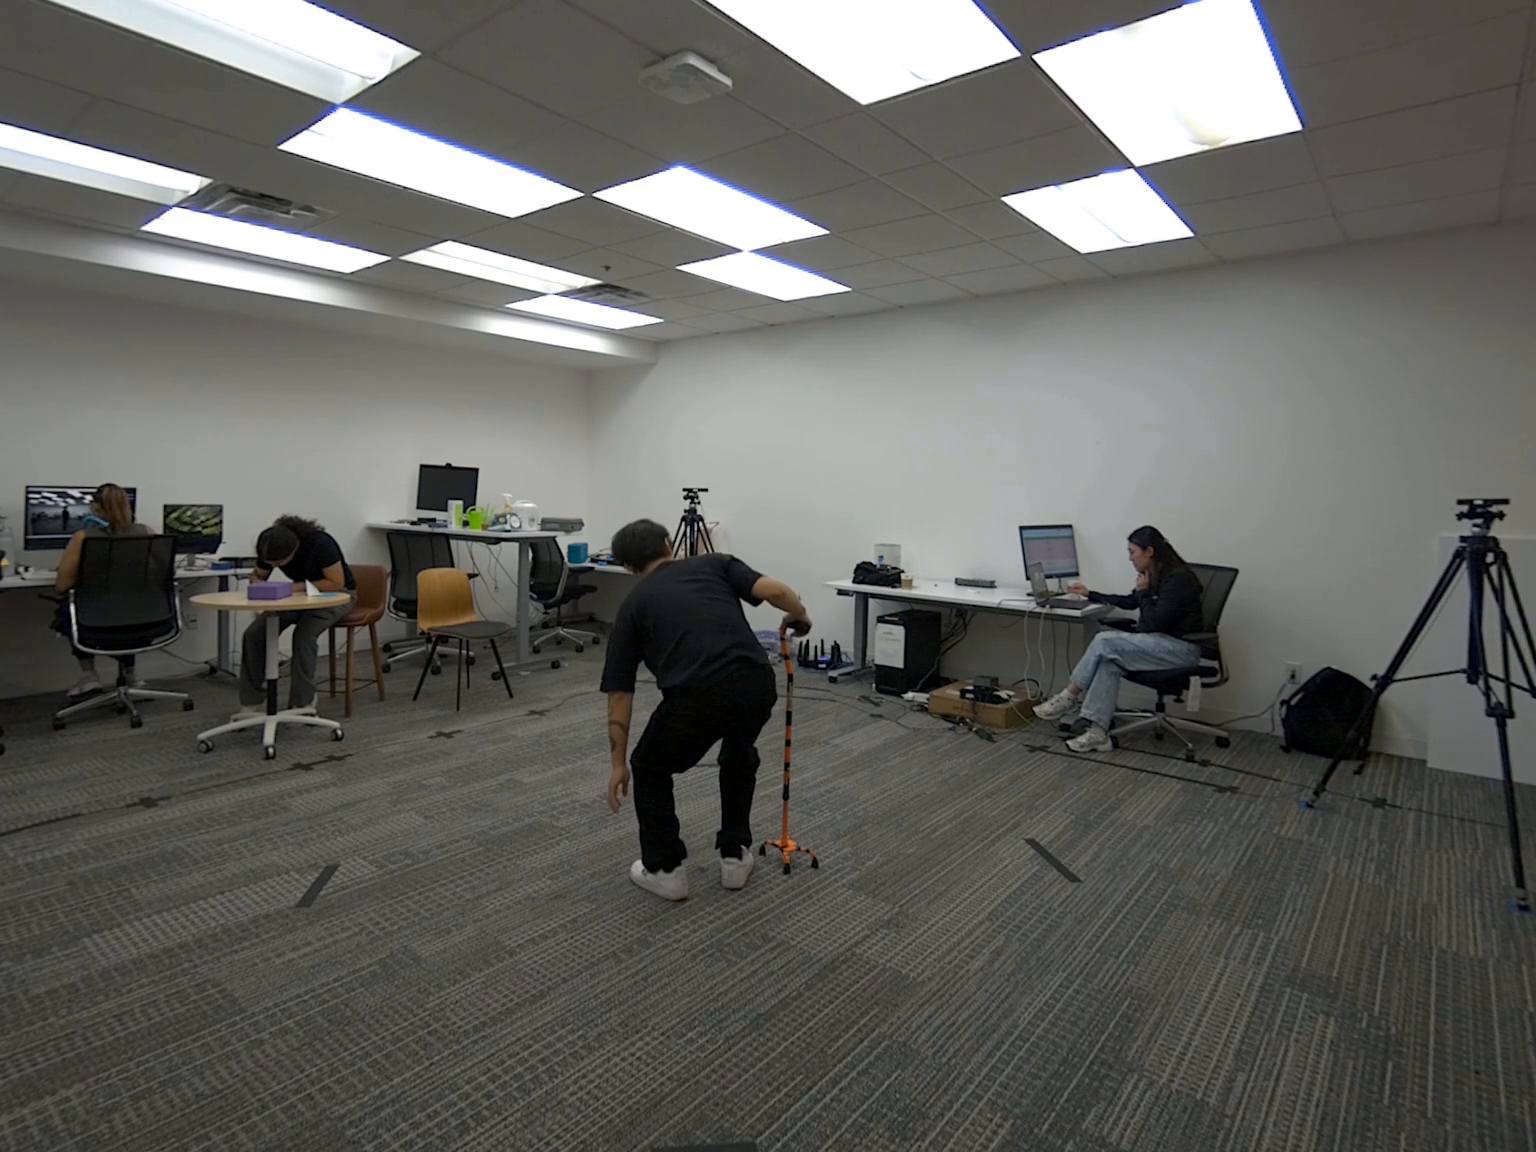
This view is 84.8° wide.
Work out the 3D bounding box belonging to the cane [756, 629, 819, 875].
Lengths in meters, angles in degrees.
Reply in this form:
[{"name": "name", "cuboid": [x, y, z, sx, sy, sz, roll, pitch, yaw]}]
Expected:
[{"name": "cane", "cuboid": [0.082, 0.617, 3.181, 0.147, 0.906, 0.212, 0, 2, -31]}]
